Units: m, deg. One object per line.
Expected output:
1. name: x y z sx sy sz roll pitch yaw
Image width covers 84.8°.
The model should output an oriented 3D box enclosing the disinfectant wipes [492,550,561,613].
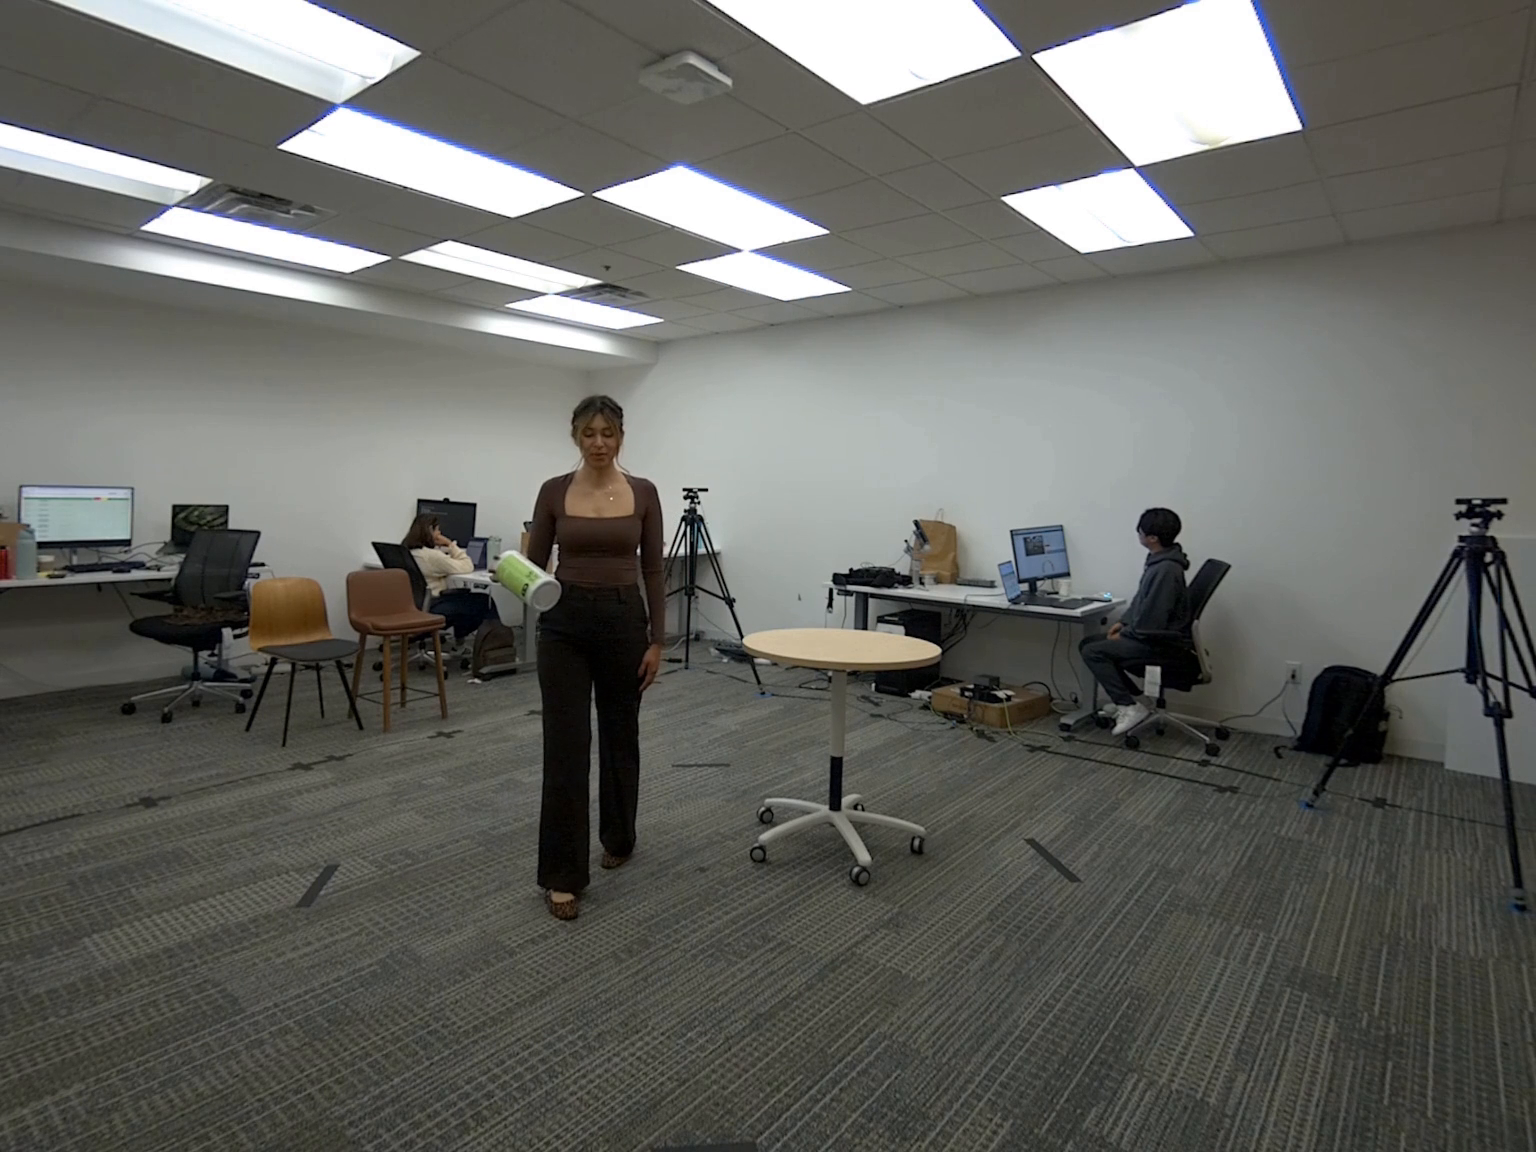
1. disinfectant wipes: -0.739 0.010 2.557 0.226 0.116 0.114 34 24 36
